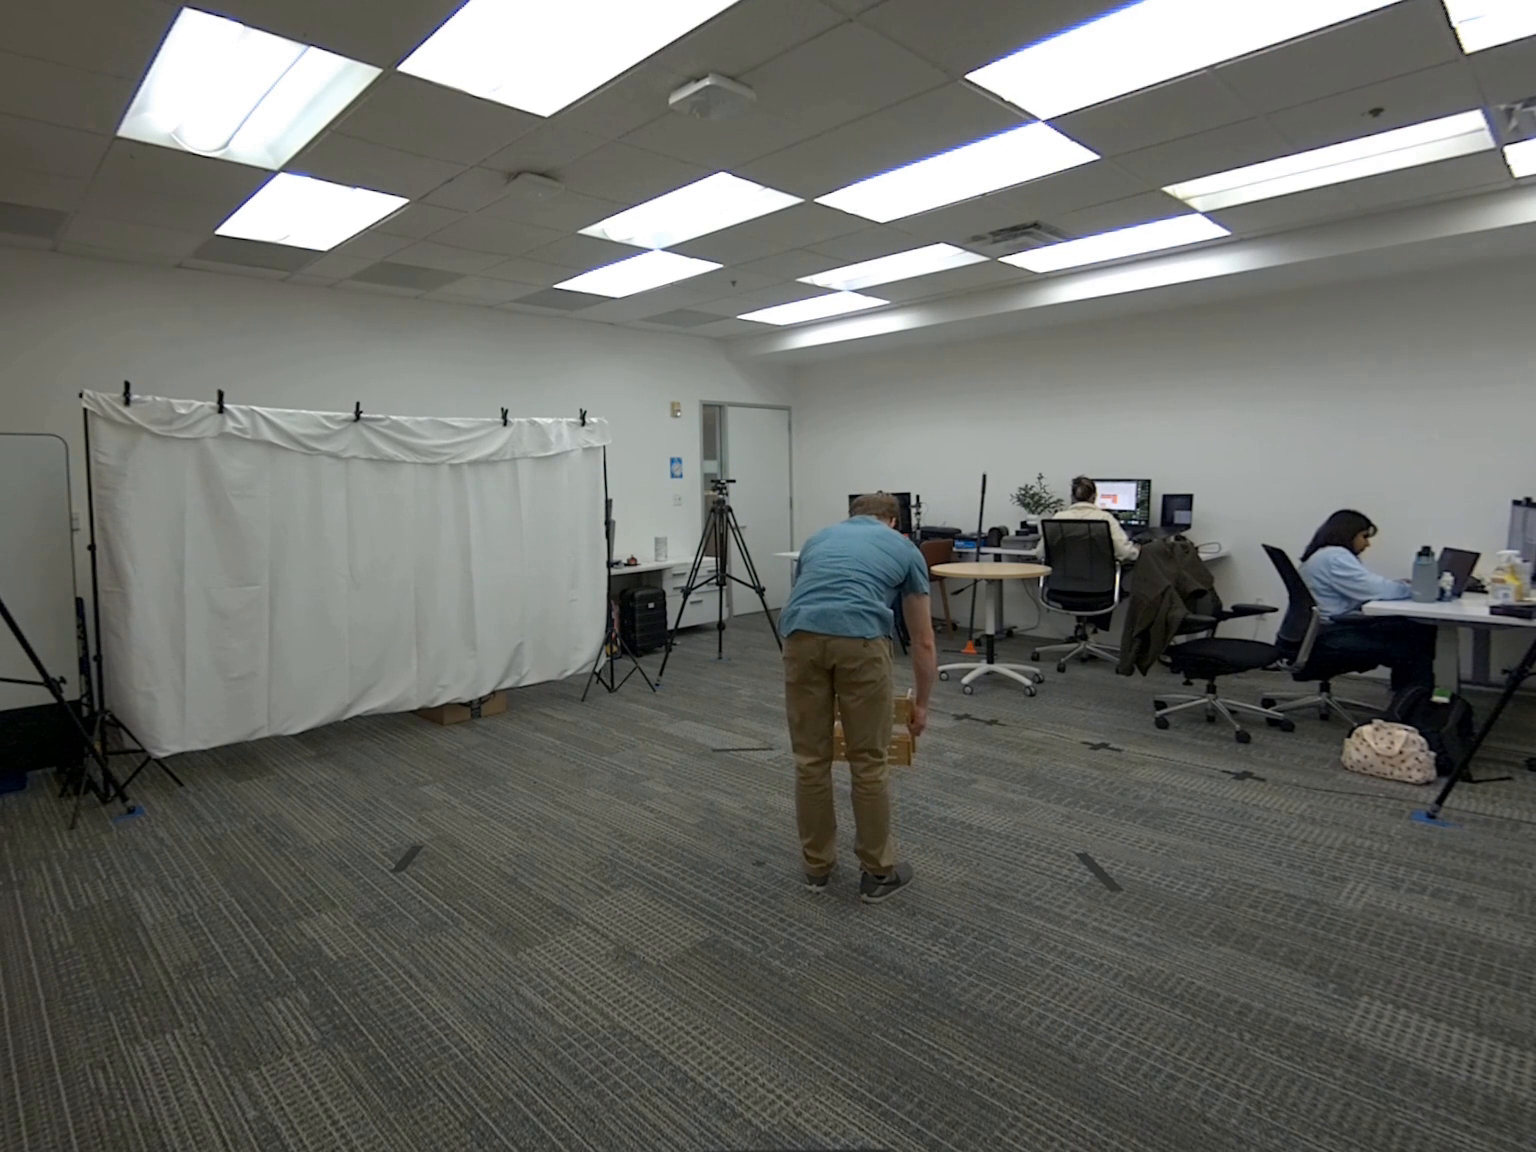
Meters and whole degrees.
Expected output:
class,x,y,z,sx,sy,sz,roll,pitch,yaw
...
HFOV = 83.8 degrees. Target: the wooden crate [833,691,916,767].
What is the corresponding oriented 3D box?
class,x,y,z,sx,sy,sz,roll,pitch,yaw
wooden crate,0.396,0.547,3.231,0.329,0.272,0.299,0,6,15
